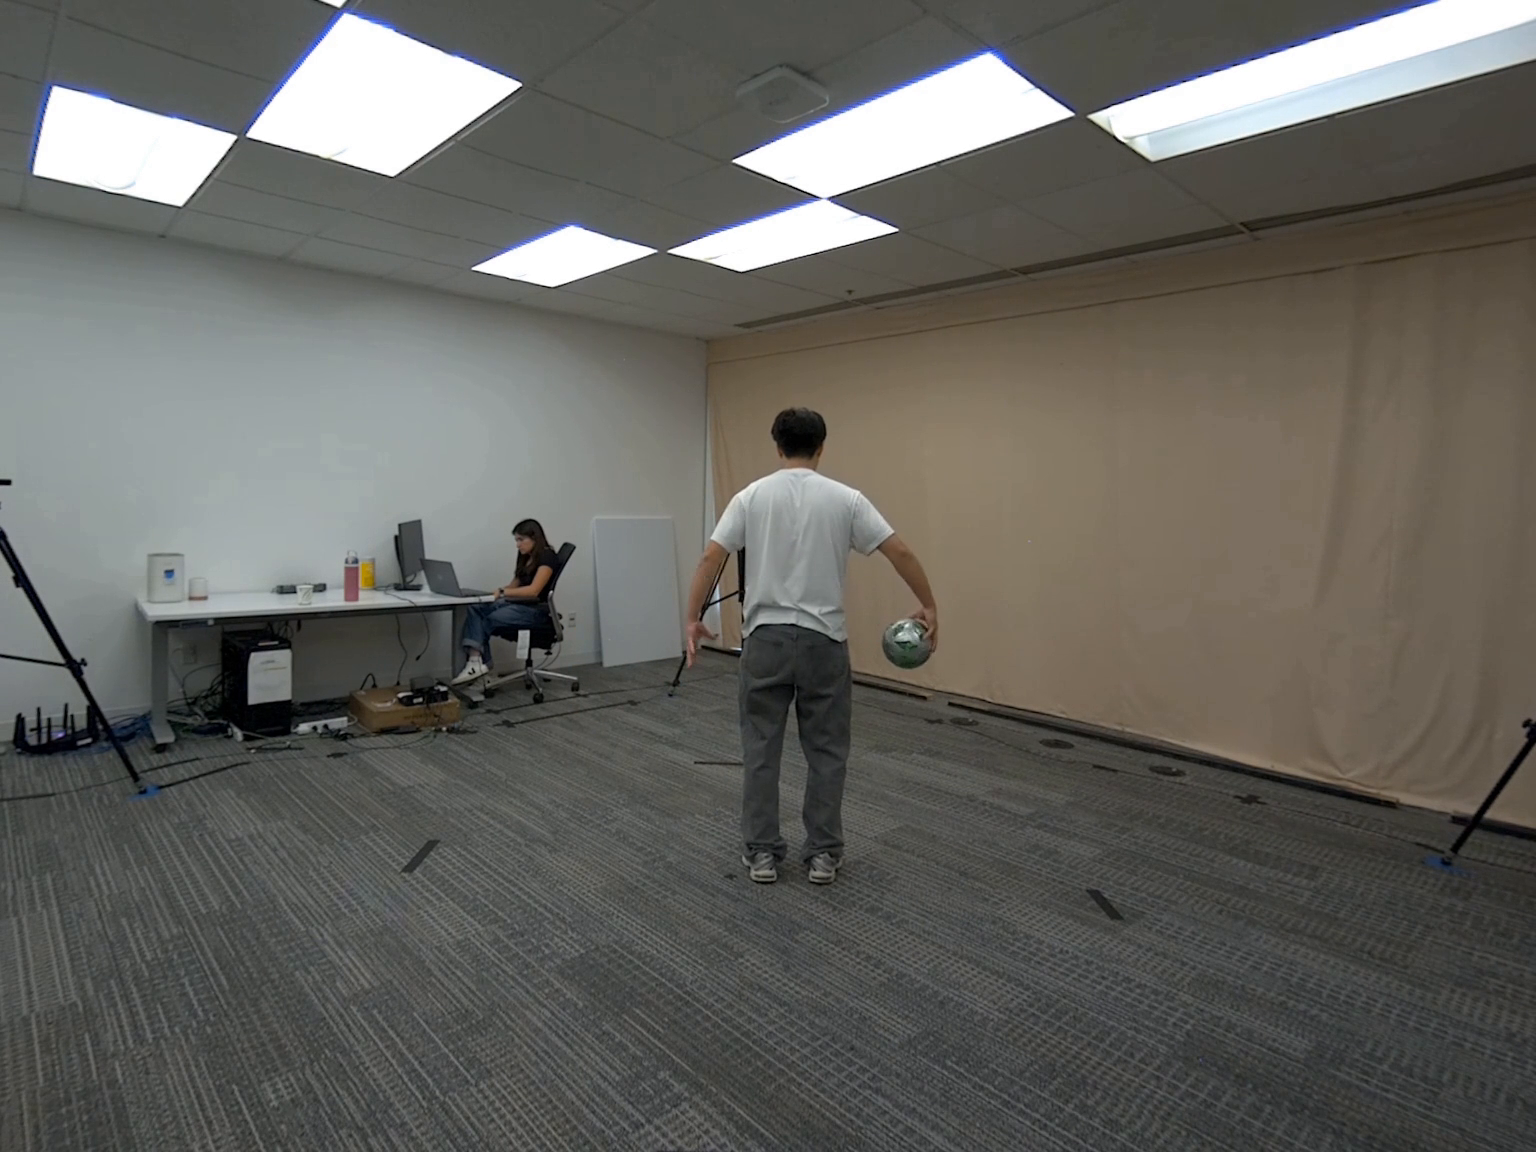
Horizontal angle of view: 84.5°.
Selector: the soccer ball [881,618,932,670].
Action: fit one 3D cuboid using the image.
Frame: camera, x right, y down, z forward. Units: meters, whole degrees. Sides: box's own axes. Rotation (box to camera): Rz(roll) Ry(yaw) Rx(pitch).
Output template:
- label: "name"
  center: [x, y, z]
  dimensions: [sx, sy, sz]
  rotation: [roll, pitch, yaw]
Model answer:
- label: "soccer ball"
  center: [0.474, 0.237, 3.153]
  dimensions: [0.187, 0.187, 0.188]
  rotation: [1, 4, -1]
